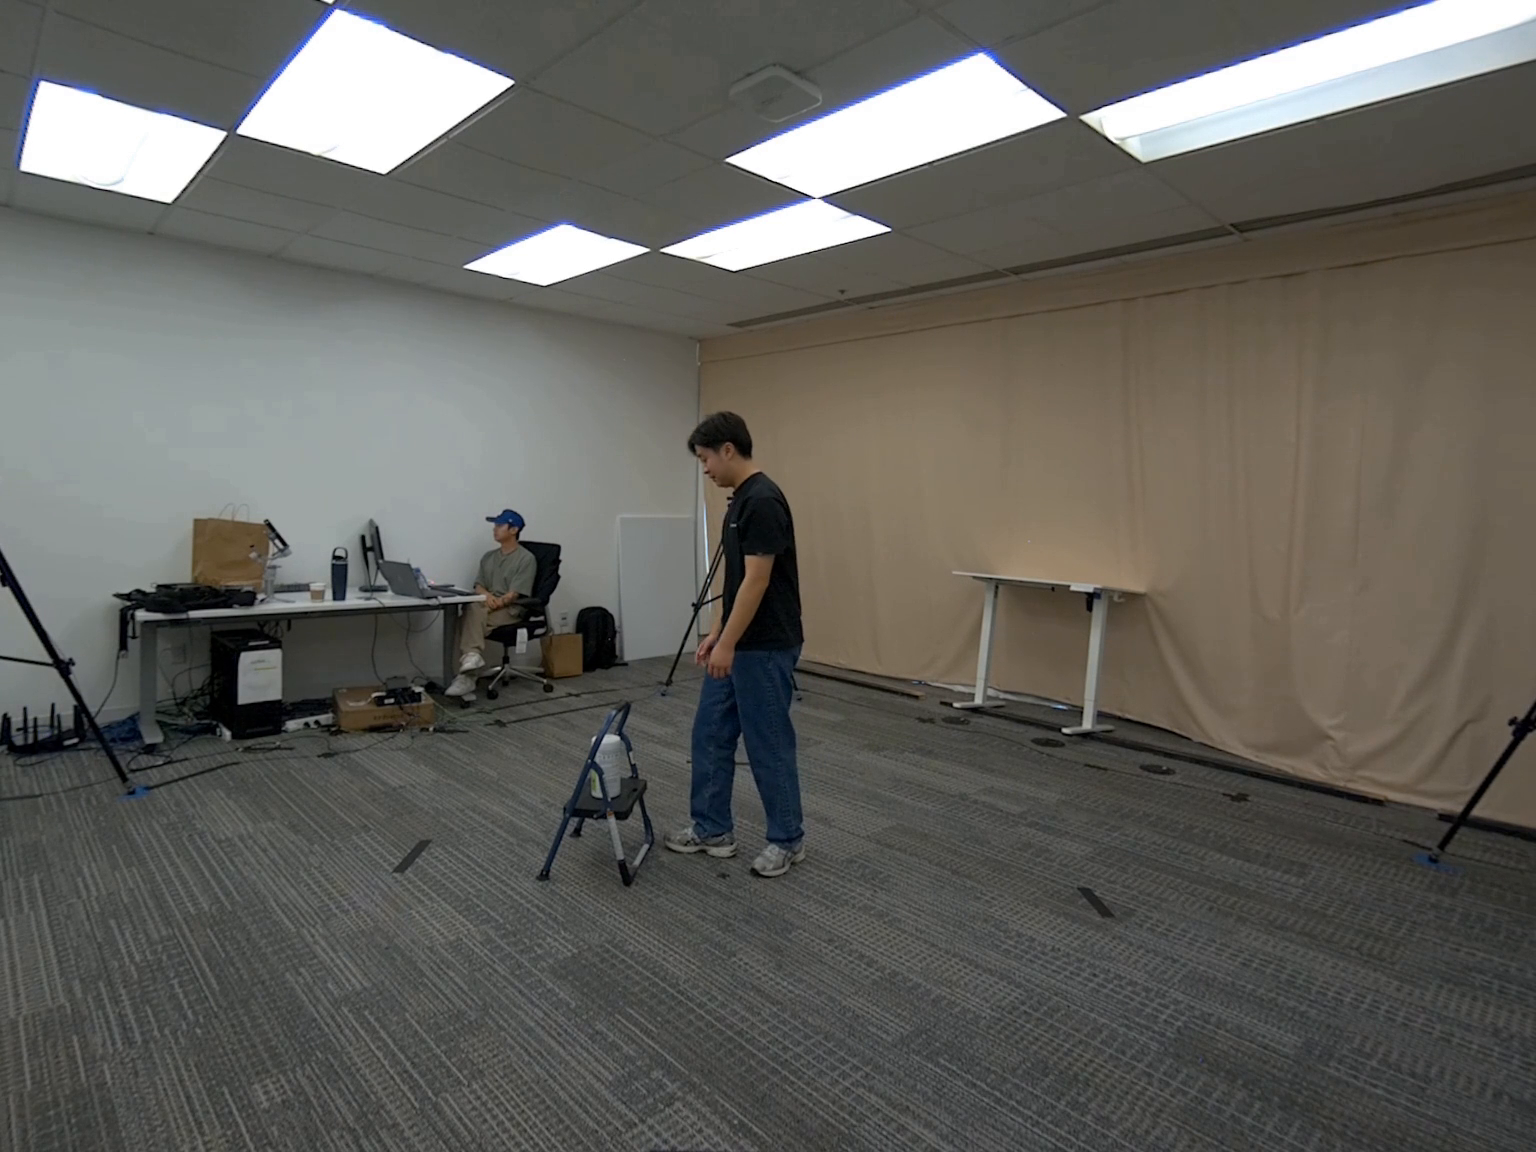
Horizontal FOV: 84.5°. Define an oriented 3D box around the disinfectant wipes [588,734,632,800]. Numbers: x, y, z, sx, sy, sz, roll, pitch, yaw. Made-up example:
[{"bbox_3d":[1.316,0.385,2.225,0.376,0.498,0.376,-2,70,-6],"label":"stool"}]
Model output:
[{"bbox_3d":[-0.609,0.719,3.176,0.118,0.217,0.118,-1,2,-1],"label":"disinfectant wipes"}]
